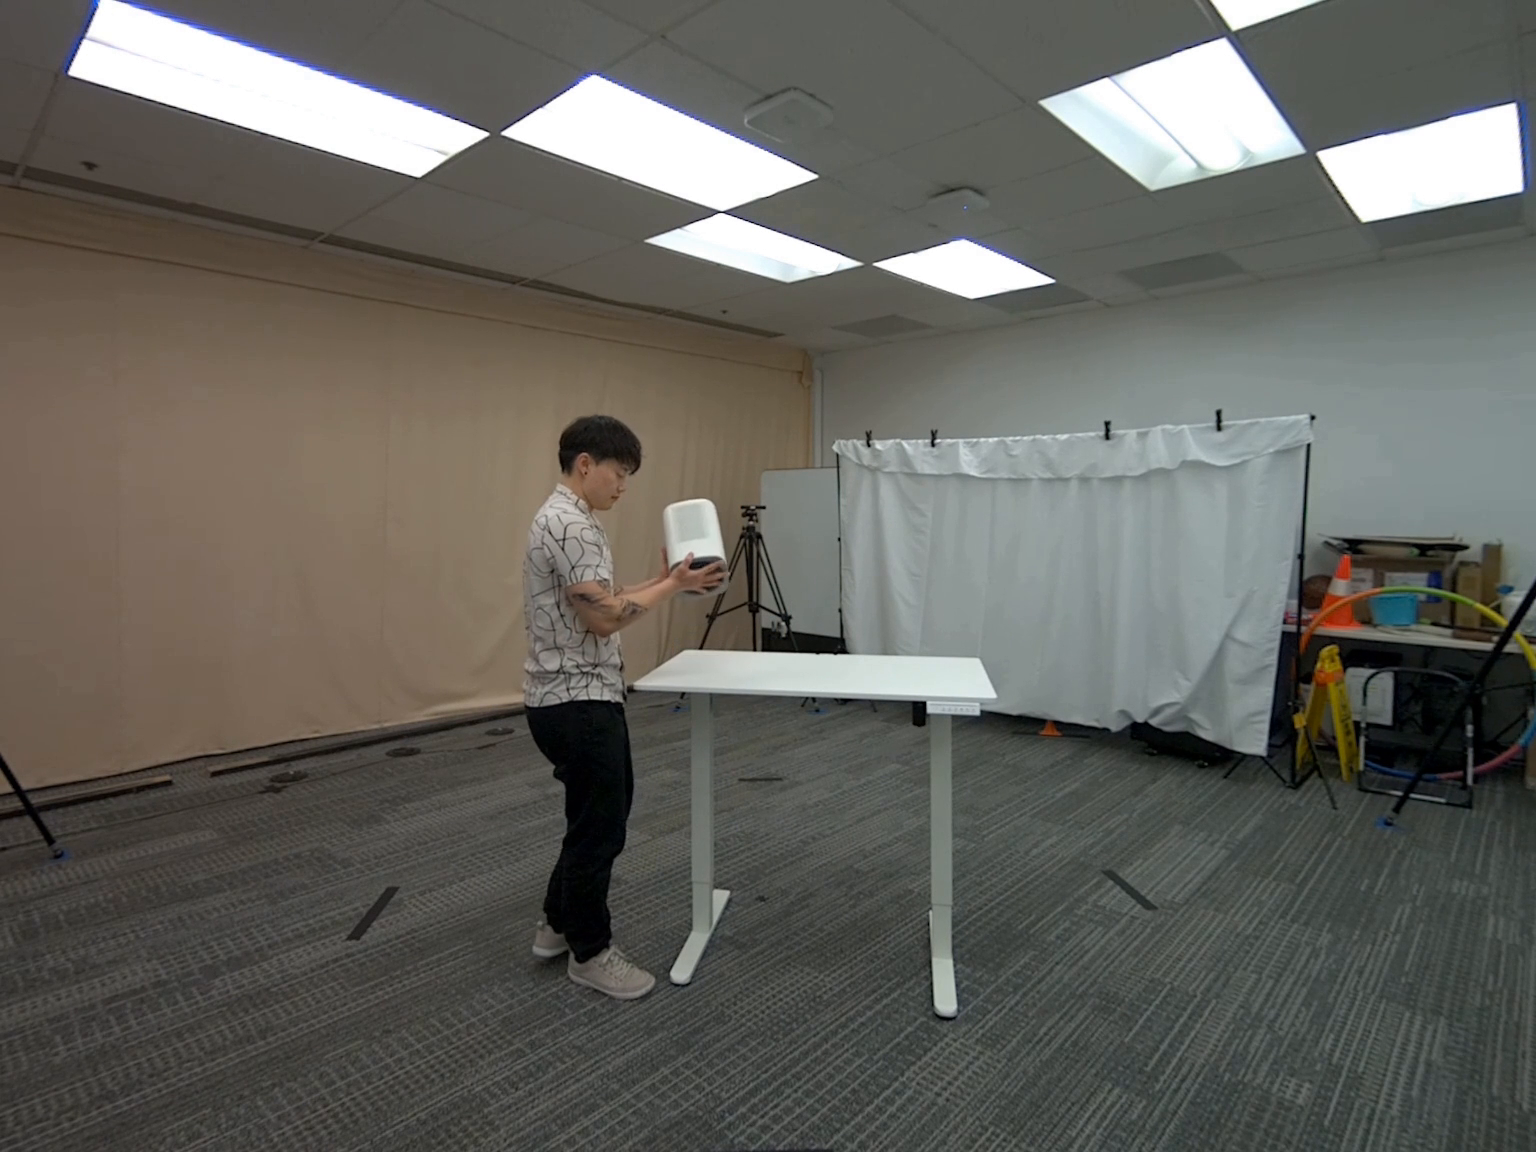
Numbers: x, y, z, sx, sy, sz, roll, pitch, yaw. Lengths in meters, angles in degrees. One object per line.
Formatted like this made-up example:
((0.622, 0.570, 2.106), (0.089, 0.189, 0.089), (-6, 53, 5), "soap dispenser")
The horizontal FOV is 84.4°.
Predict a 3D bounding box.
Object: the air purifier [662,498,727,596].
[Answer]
((-0.226, -0.088, 2.541), (0.171, 0.167, 0.272), (-7, 44, -4), "air purifier")
